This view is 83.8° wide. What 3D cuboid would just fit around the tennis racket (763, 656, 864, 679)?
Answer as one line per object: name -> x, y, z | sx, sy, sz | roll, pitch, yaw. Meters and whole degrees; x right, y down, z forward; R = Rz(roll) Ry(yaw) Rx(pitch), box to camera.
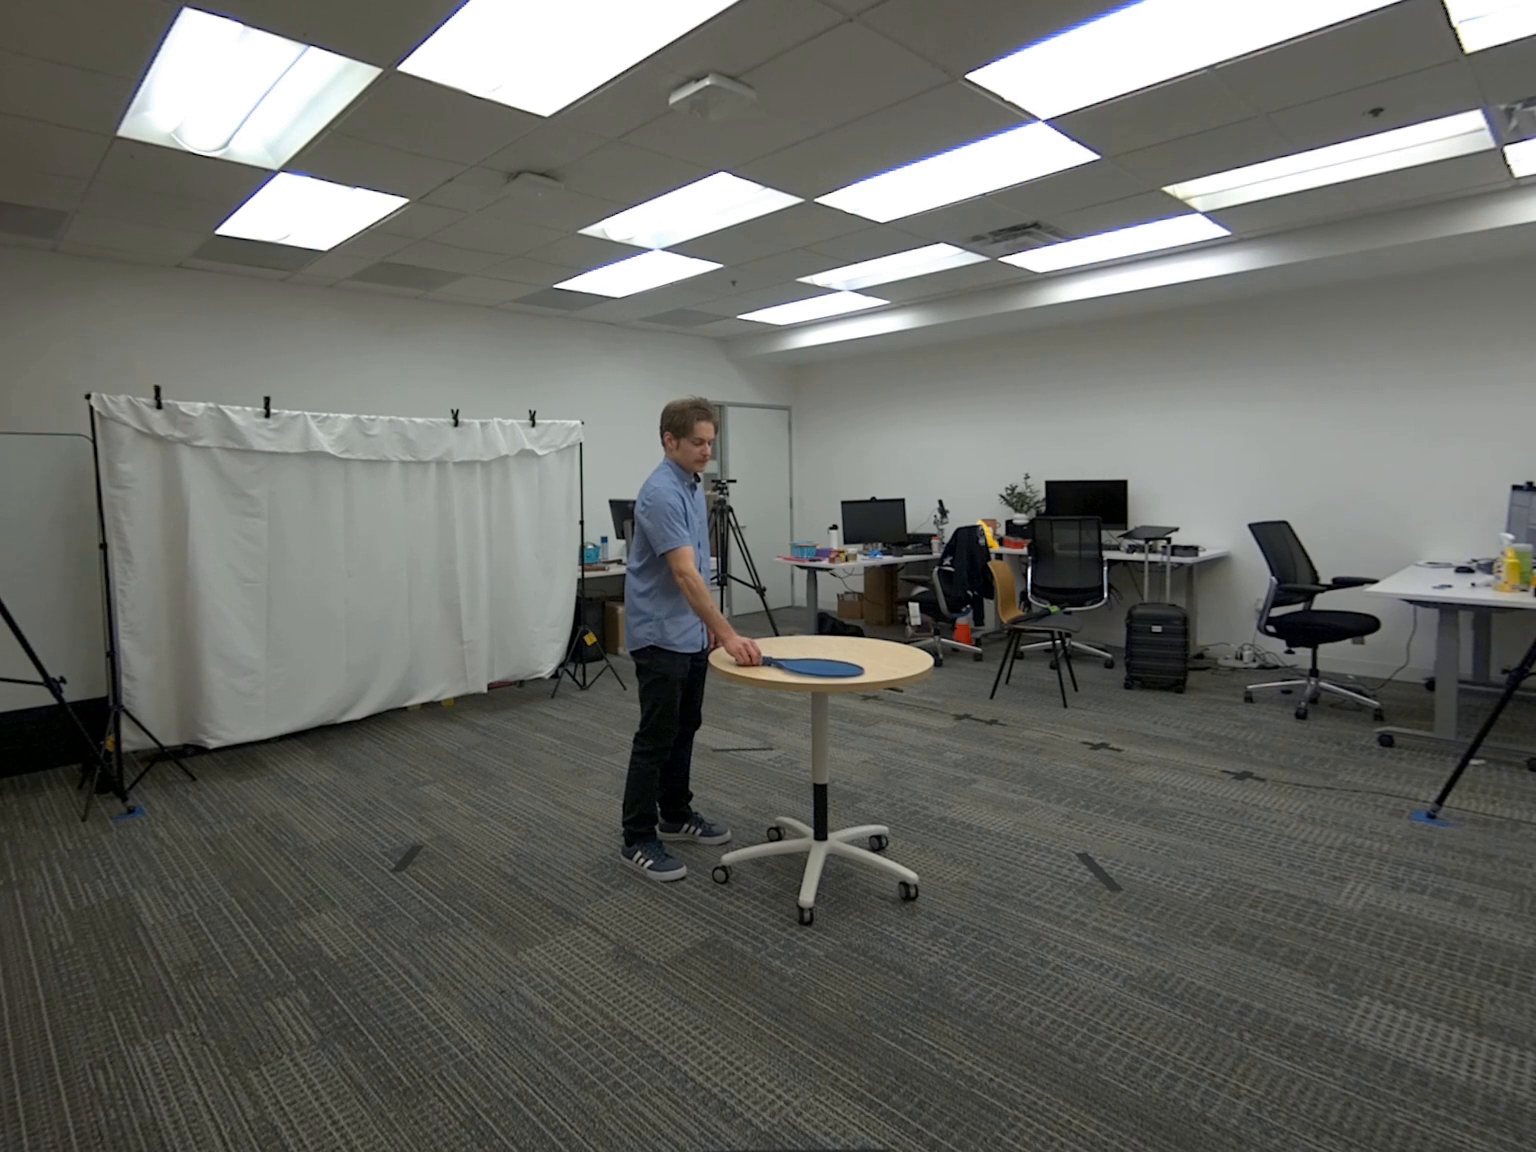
tennis racket -> 0.101, 0.290, 2.771 | 0.443, 0.031, 0.209 | 4, 6, 25
